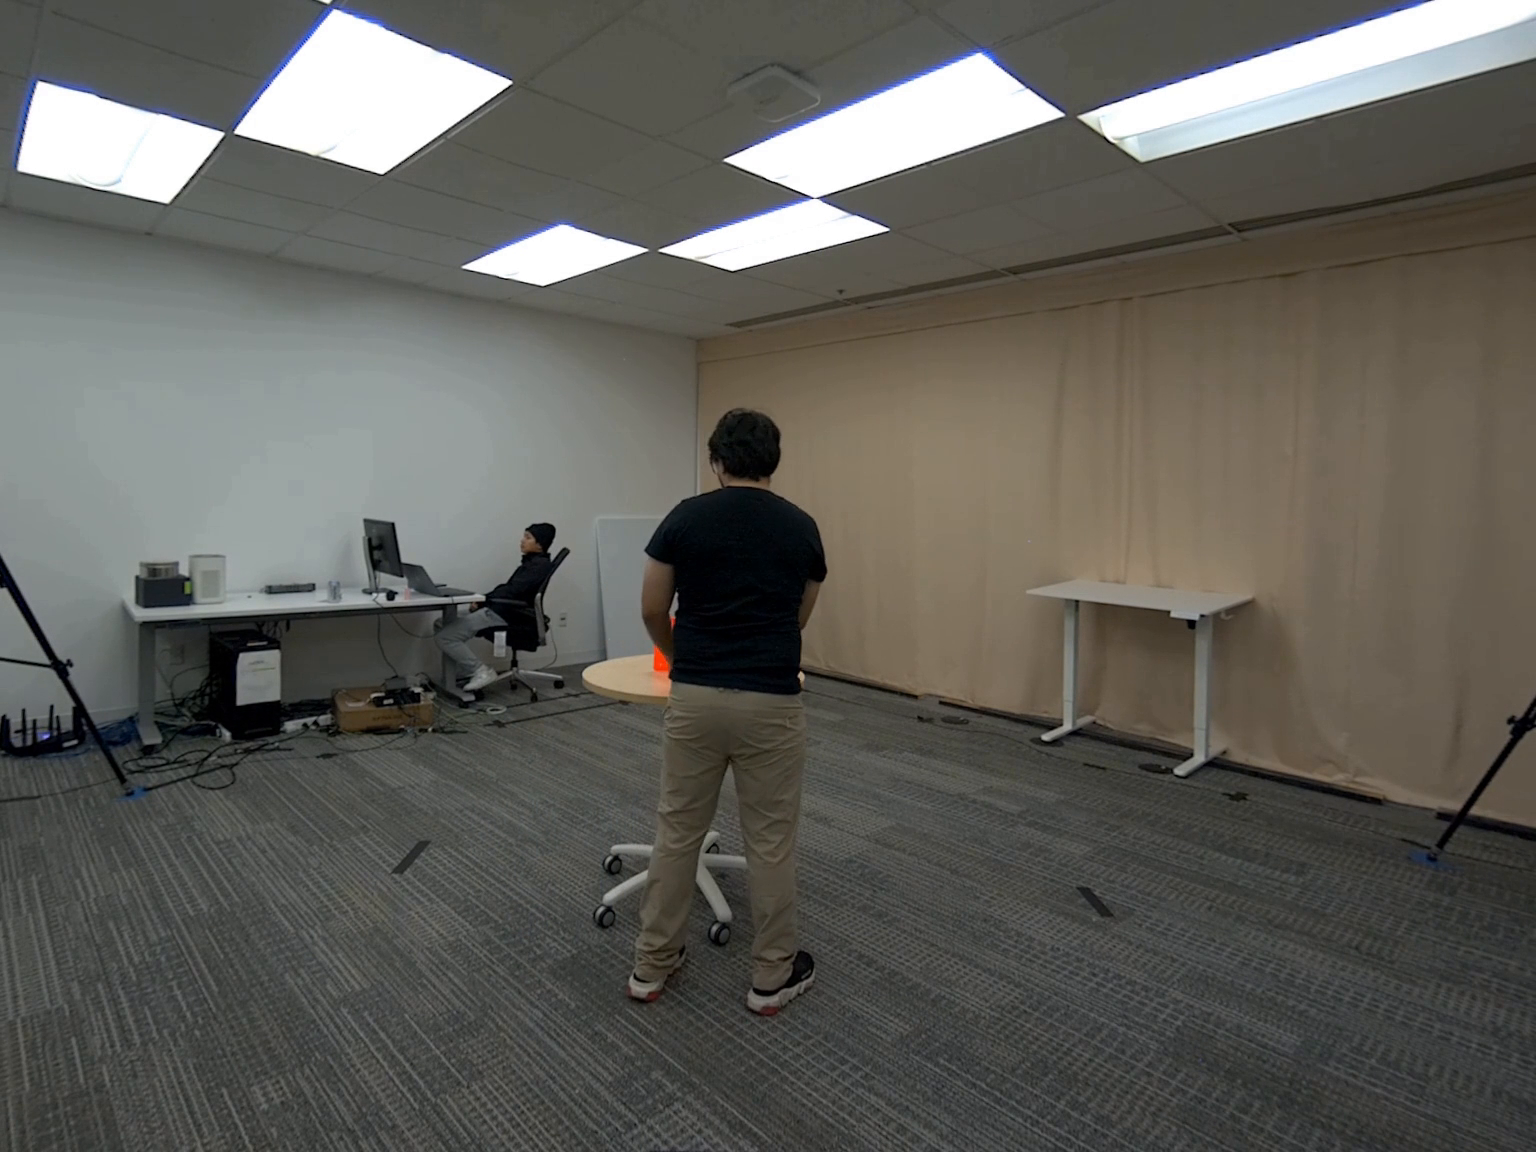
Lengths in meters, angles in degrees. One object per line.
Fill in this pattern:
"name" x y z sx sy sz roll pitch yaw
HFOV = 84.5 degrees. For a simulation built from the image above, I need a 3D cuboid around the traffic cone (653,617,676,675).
"traffic cone" -0.256 0.297 2.755 0.201 0.203 0.392 1 15 -15
